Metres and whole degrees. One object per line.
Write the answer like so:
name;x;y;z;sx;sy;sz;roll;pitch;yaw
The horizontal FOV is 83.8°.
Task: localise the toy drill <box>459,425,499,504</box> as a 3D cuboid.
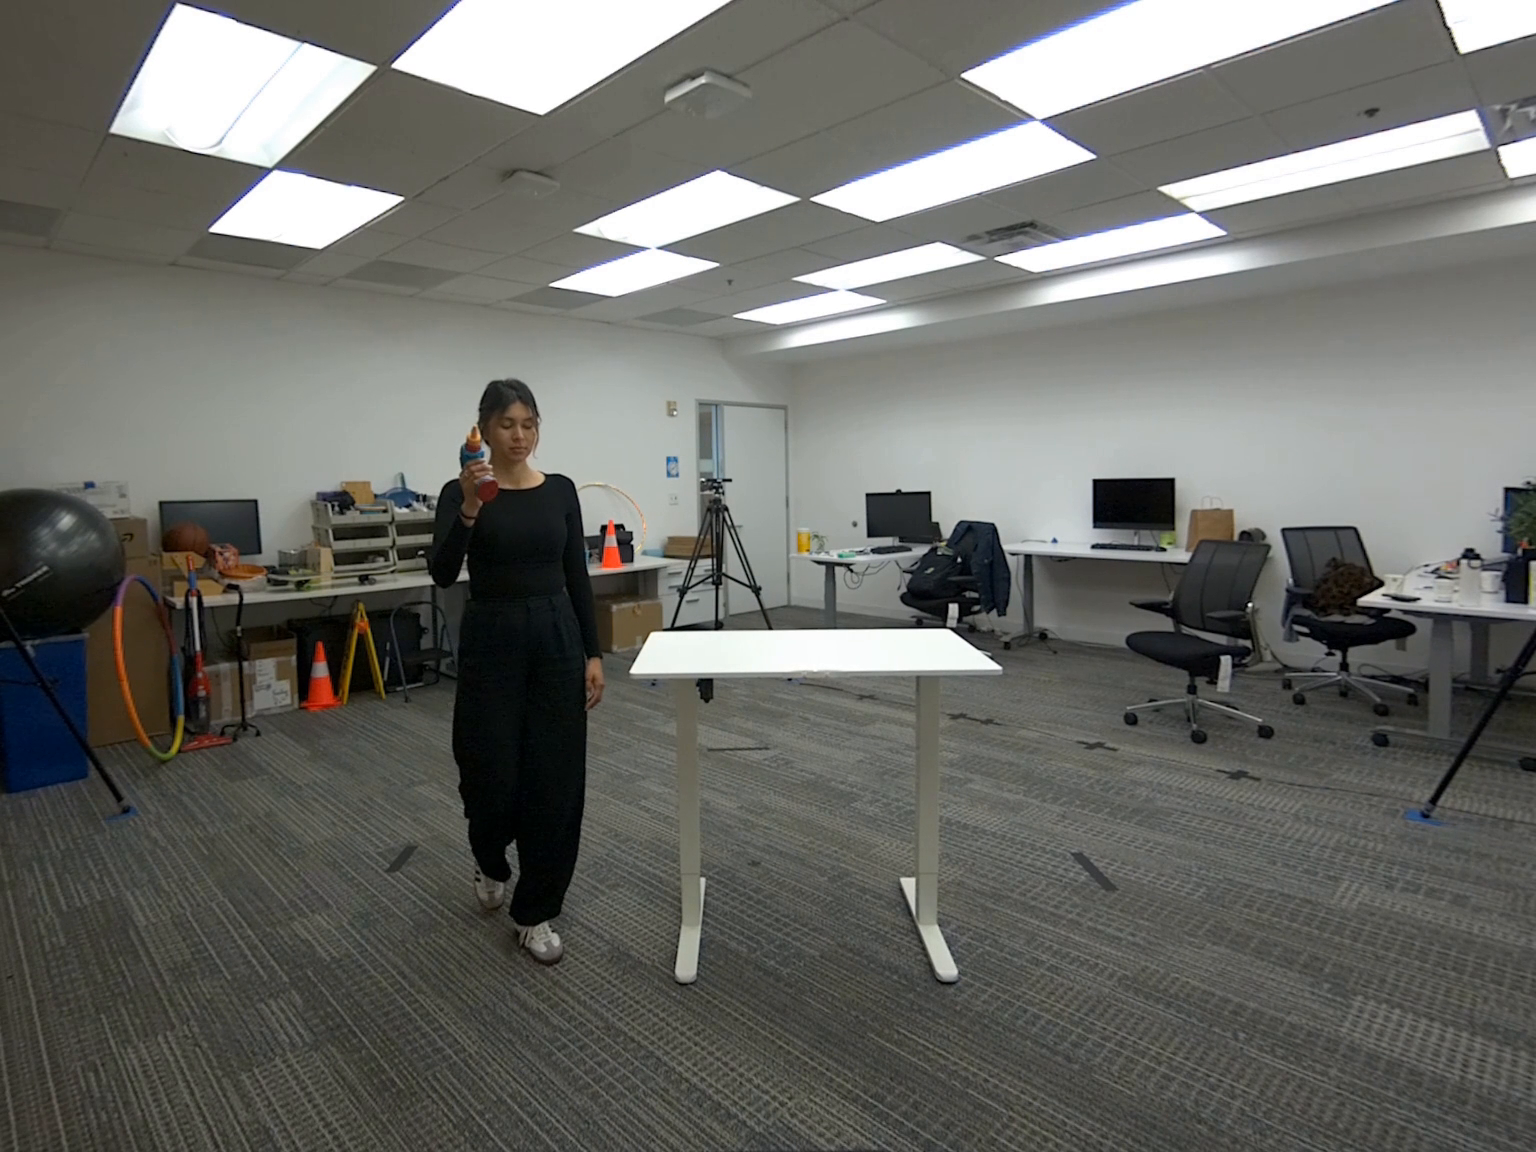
toy drill;-0.740;-0.285;2.136;0.060;0.151;0.167;-13;-35;-31
